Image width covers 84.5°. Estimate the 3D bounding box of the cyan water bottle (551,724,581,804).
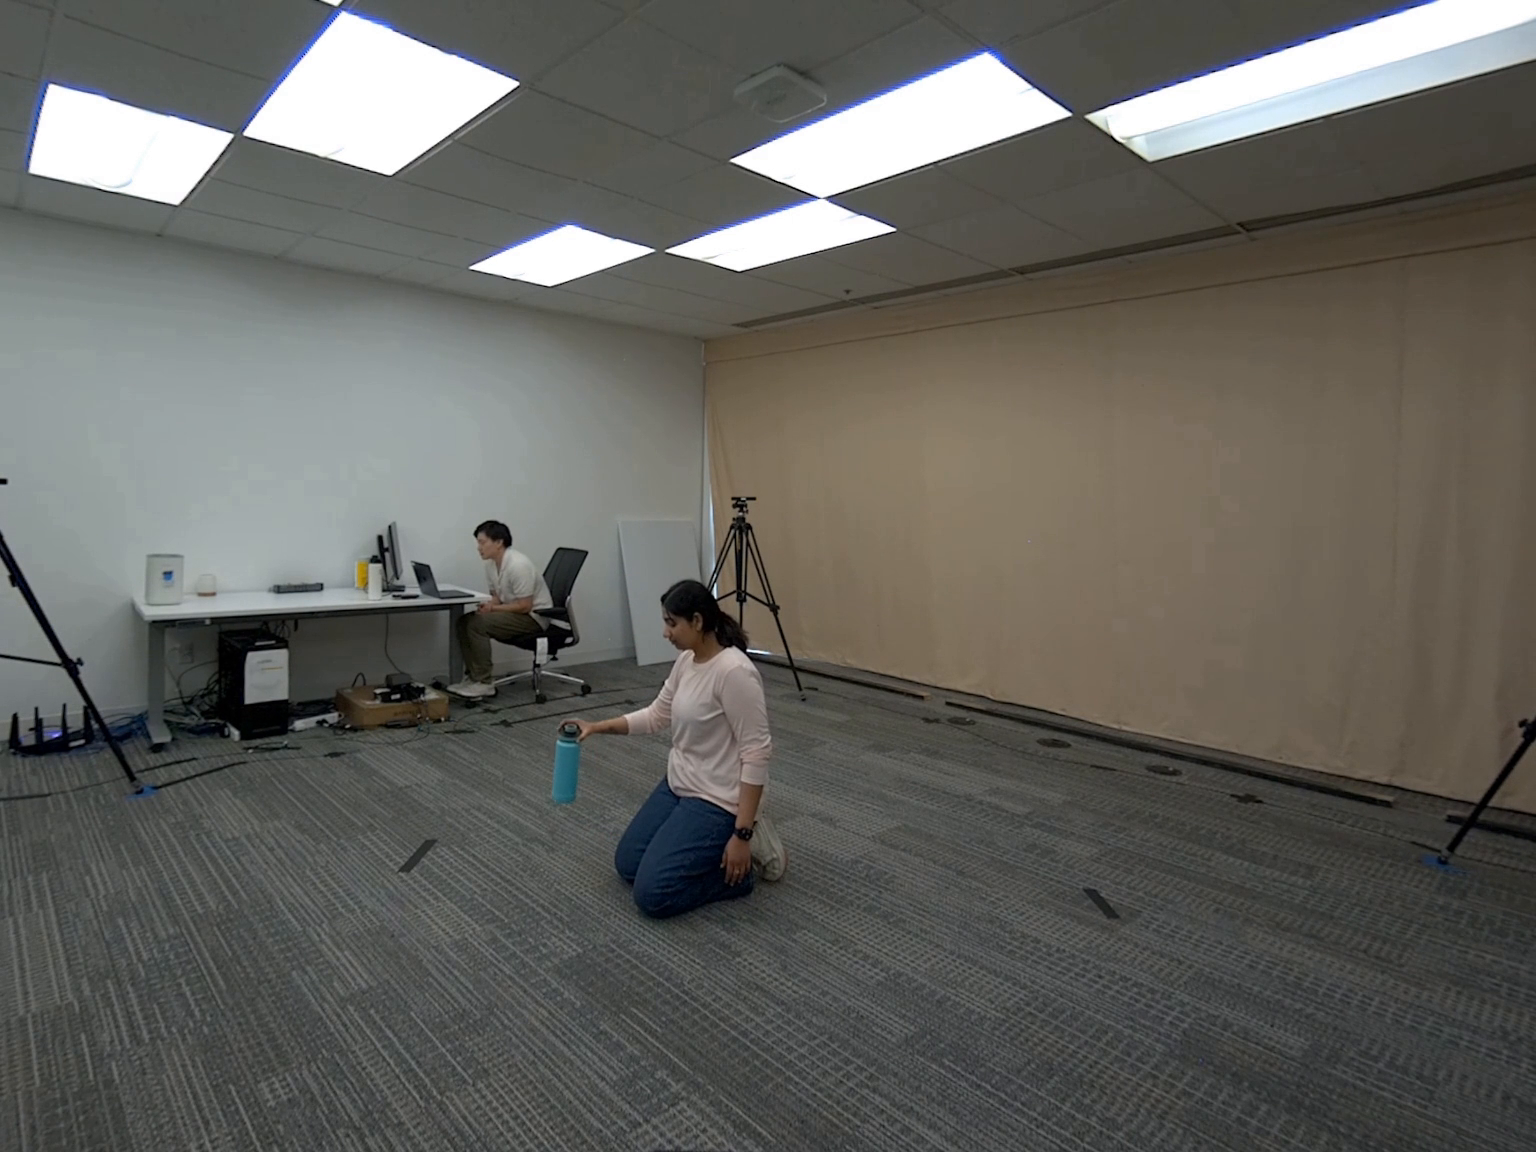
[{"bbox_3d":[-0.735,0.676,3.074,0.092,0.282,0.093,5,6,-2],"label":"cyan water bottle"}]
